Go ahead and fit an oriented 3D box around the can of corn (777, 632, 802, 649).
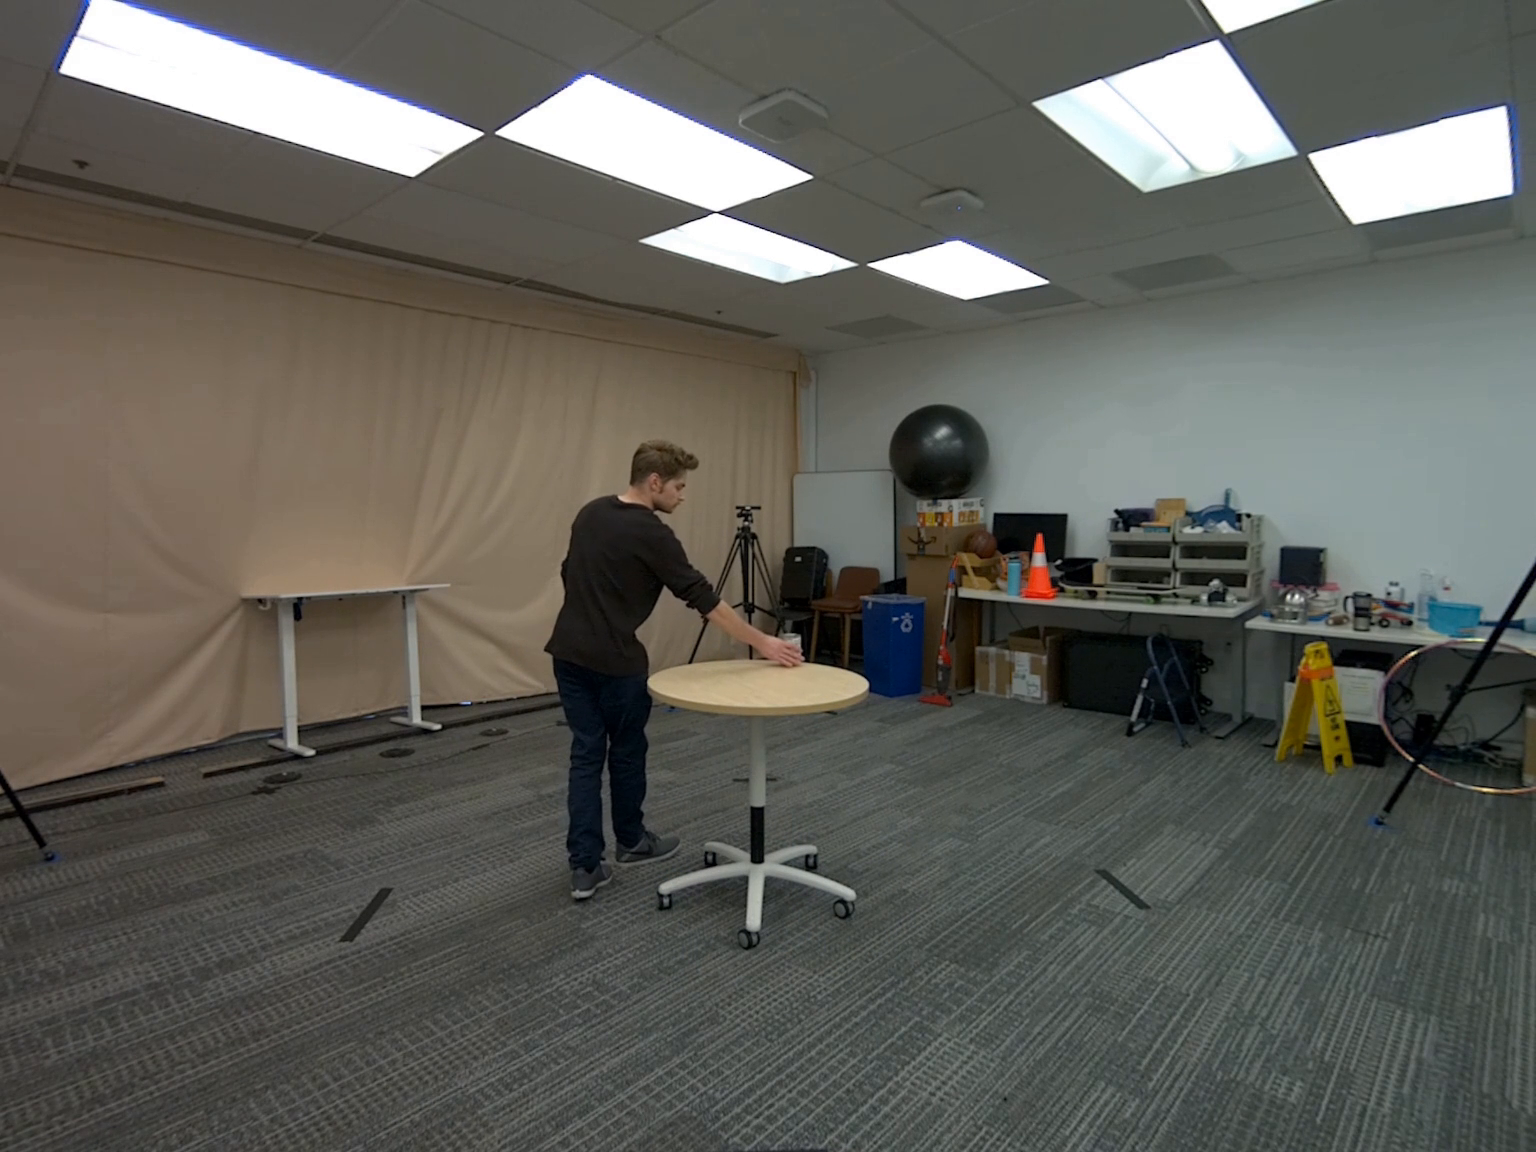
[{"bbox_3d":[0.089,0.284,3.211,0.074,0.111,0.074,-1,3,-2],"label":"can of corn"}]
